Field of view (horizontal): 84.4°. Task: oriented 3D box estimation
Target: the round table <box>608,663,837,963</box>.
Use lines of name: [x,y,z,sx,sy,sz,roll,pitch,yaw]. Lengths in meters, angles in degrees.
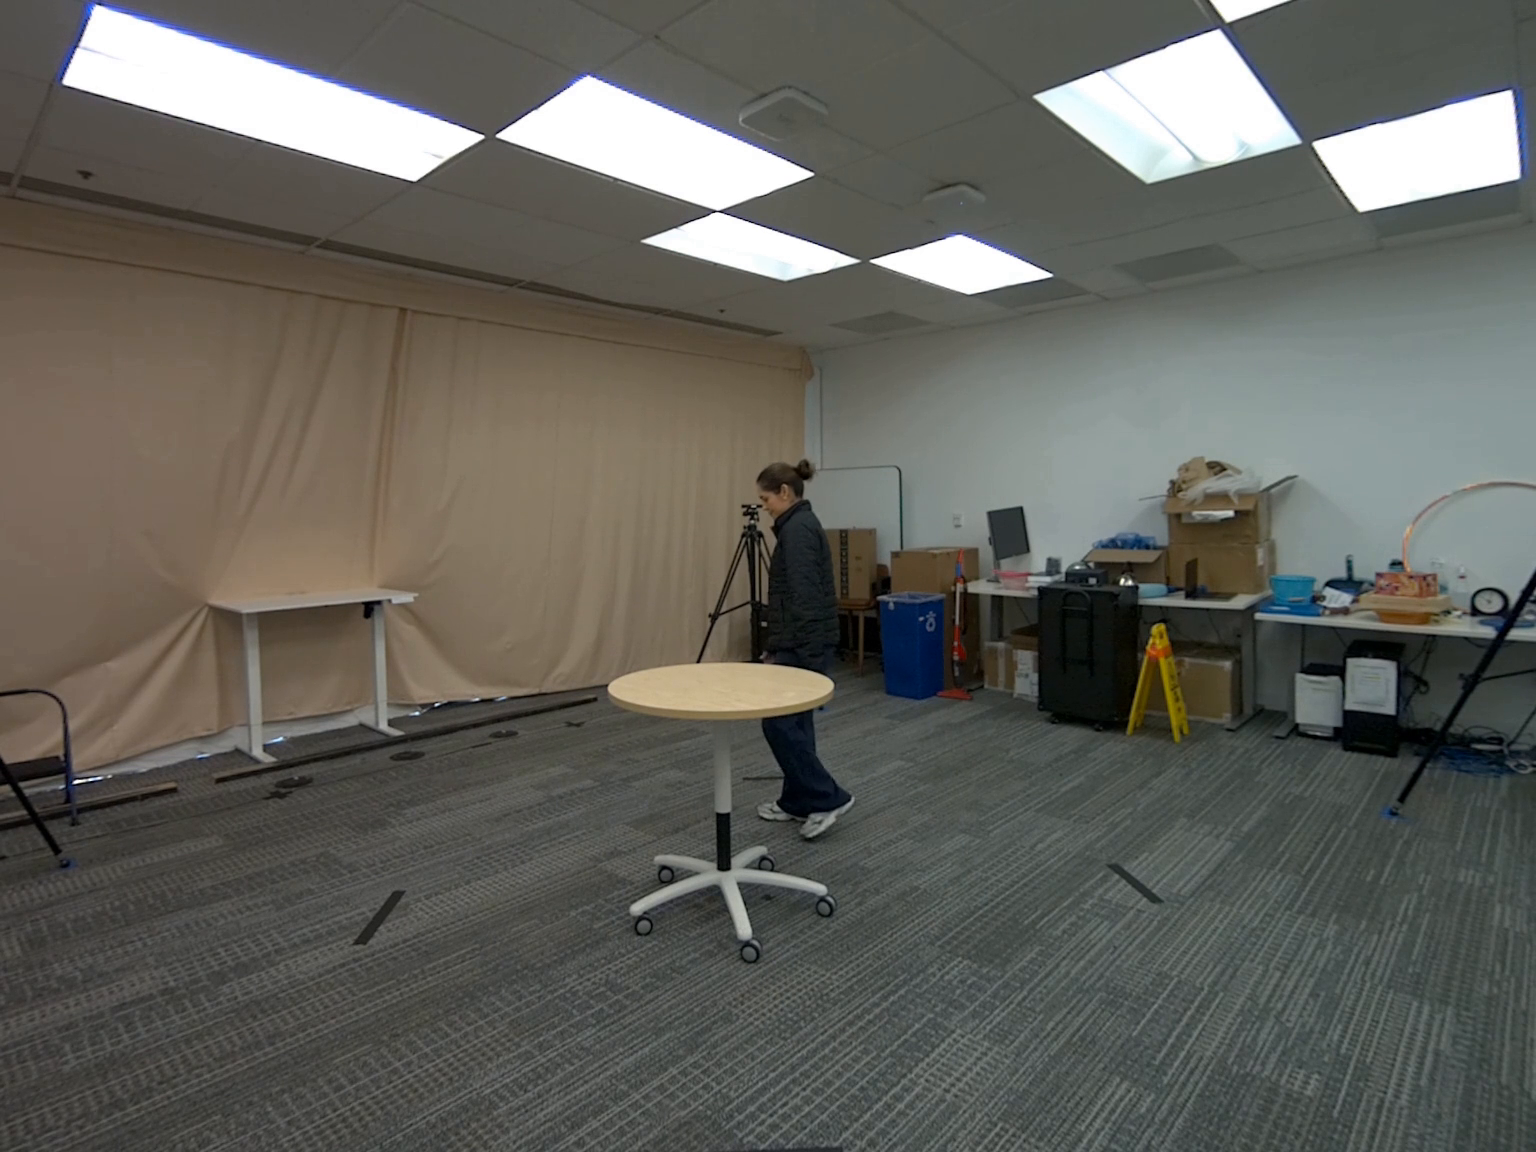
round table: [-0.144,0.756,2.904,0.784,0.784,0.788,-1,4,-2]
